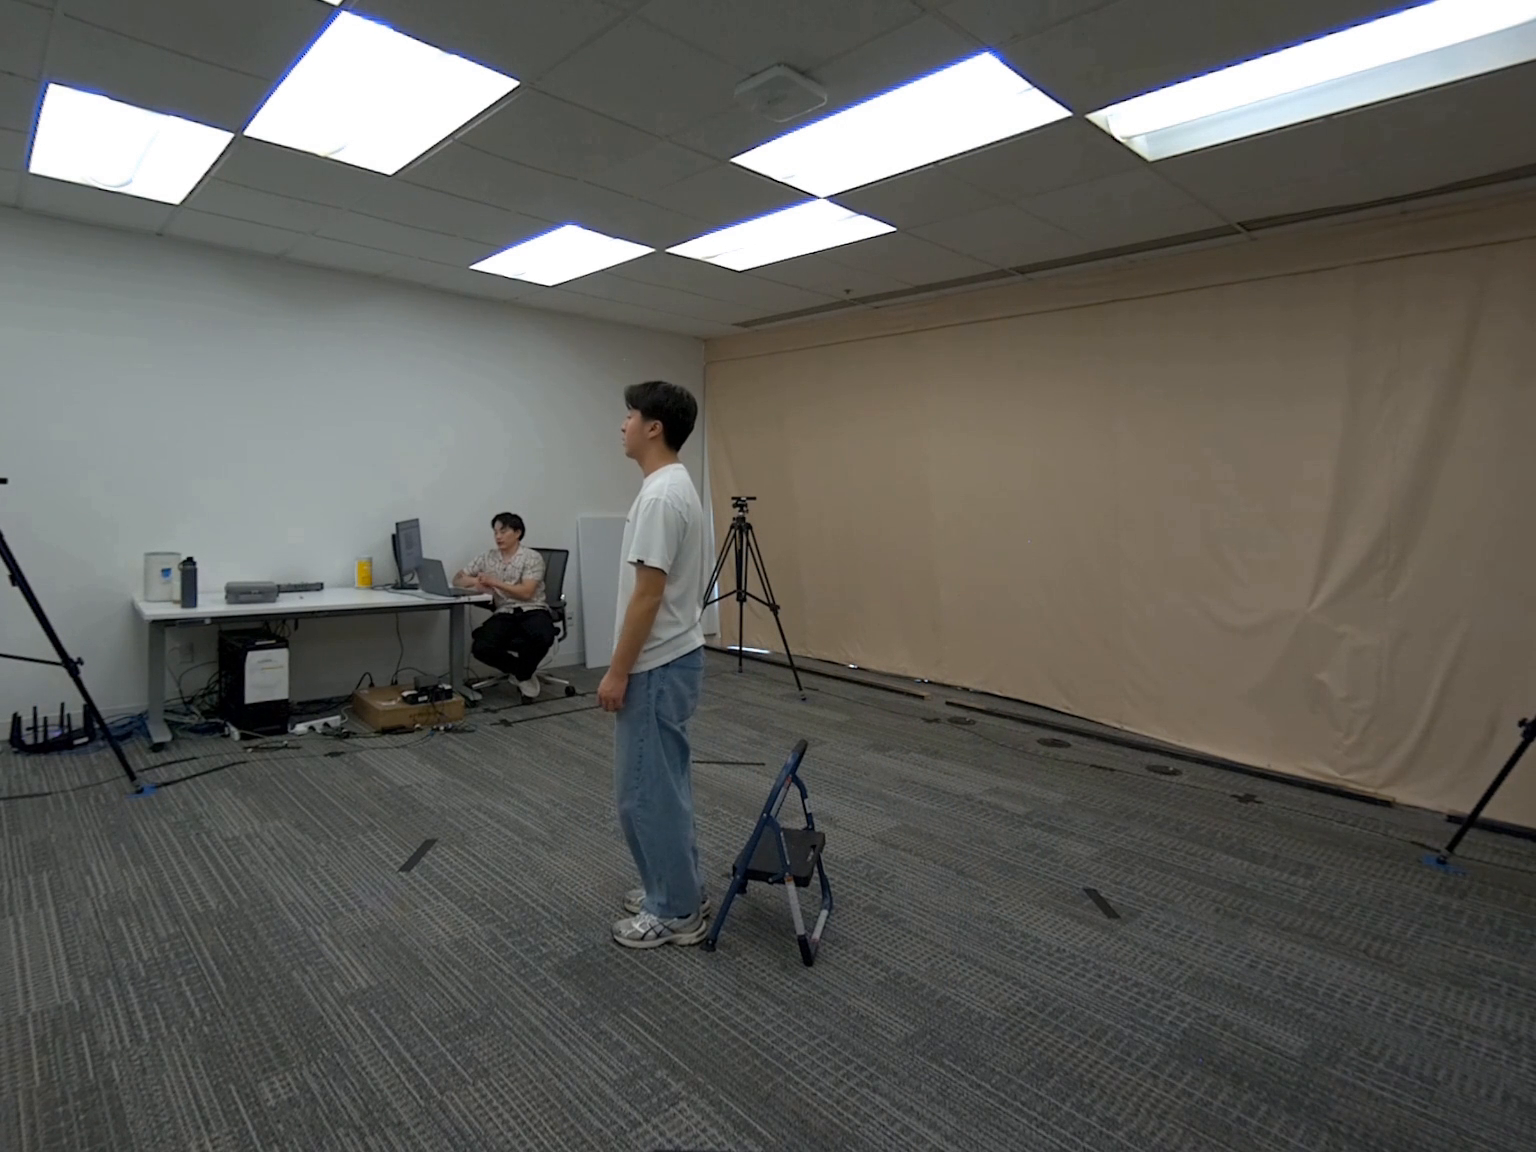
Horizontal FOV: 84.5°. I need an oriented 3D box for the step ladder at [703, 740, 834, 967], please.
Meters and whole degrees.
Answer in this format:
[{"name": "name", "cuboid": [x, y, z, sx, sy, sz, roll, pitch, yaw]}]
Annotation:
[{"name": "step ladder", "cuboid": [0.013, 0.843, 2.724, 0.353, 0.604, 0.427, 2, 4, 13]}]
